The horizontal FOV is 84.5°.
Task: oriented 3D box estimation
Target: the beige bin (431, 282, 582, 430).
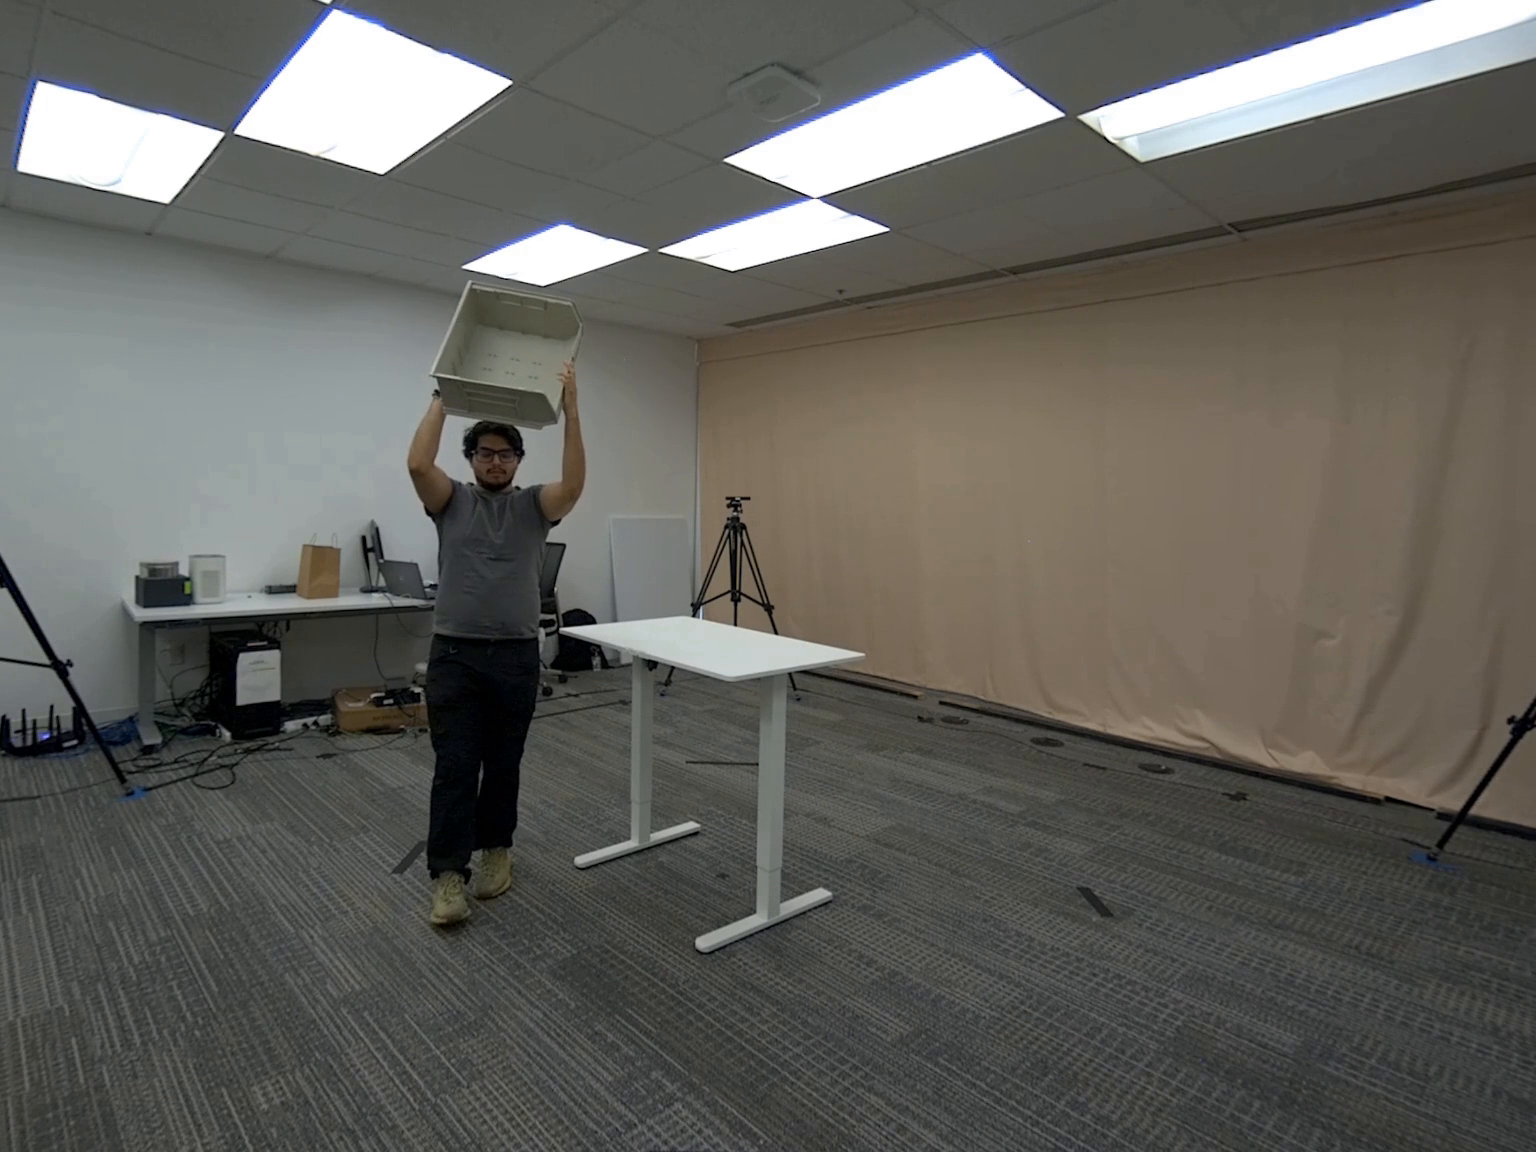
[{"bbox_3d":[-0.832,-0.709,2.701,0.376,0.430,0.186,8,-32,-4],"label":"beige bin"}]
